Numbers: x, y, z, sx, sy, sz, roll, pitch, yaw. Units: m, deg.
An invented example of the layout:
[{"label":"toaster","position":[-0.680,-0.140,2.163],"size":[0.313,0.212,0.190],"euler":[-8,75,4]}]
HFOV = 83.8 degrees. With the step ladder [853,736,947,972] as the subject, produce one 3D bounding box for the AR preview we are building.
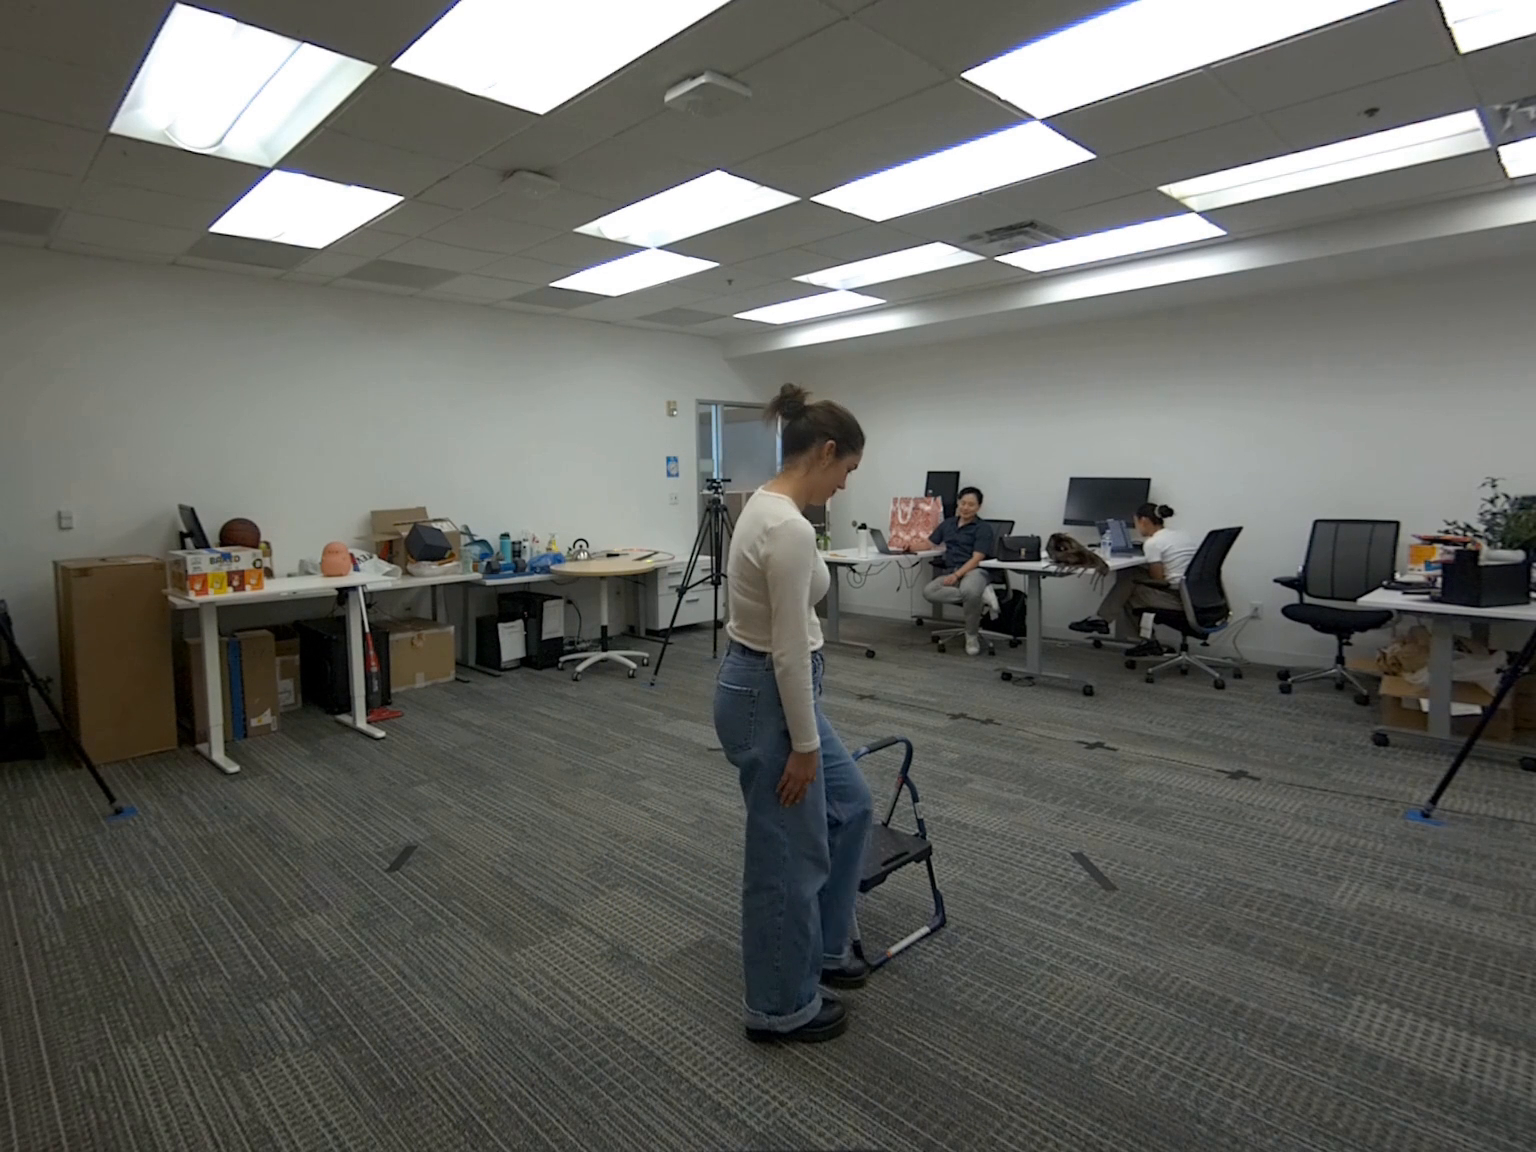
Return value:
[{"label":"step ladder","position":[0.291,0.793,2.627],"size":[0.360,0.604,0.419],"euler":[3,7,45]}]
